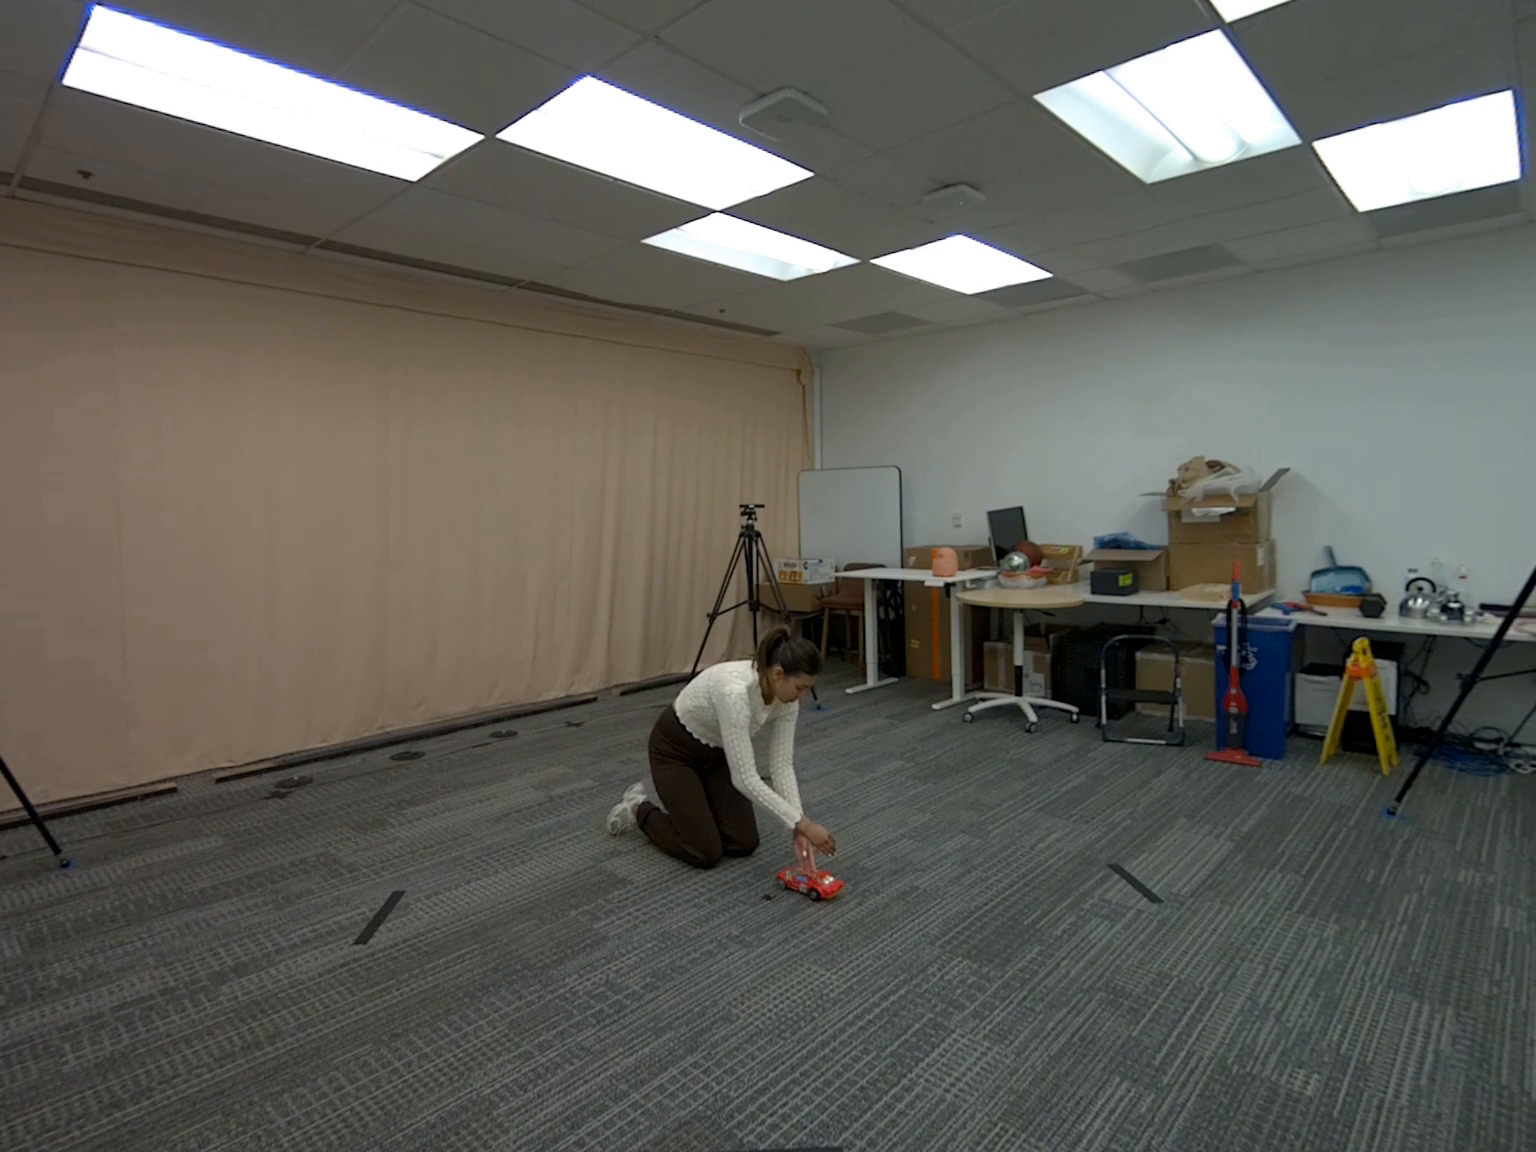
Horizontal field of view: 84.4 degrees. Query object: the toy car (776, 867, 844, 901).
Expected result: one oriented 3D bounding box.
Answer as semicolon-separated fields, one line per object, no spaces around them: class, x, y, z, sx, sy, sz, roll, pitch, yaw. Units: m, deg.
toy car;0.161;1.102;3.019;0.261;0.083;0.126;-11;-2;41
